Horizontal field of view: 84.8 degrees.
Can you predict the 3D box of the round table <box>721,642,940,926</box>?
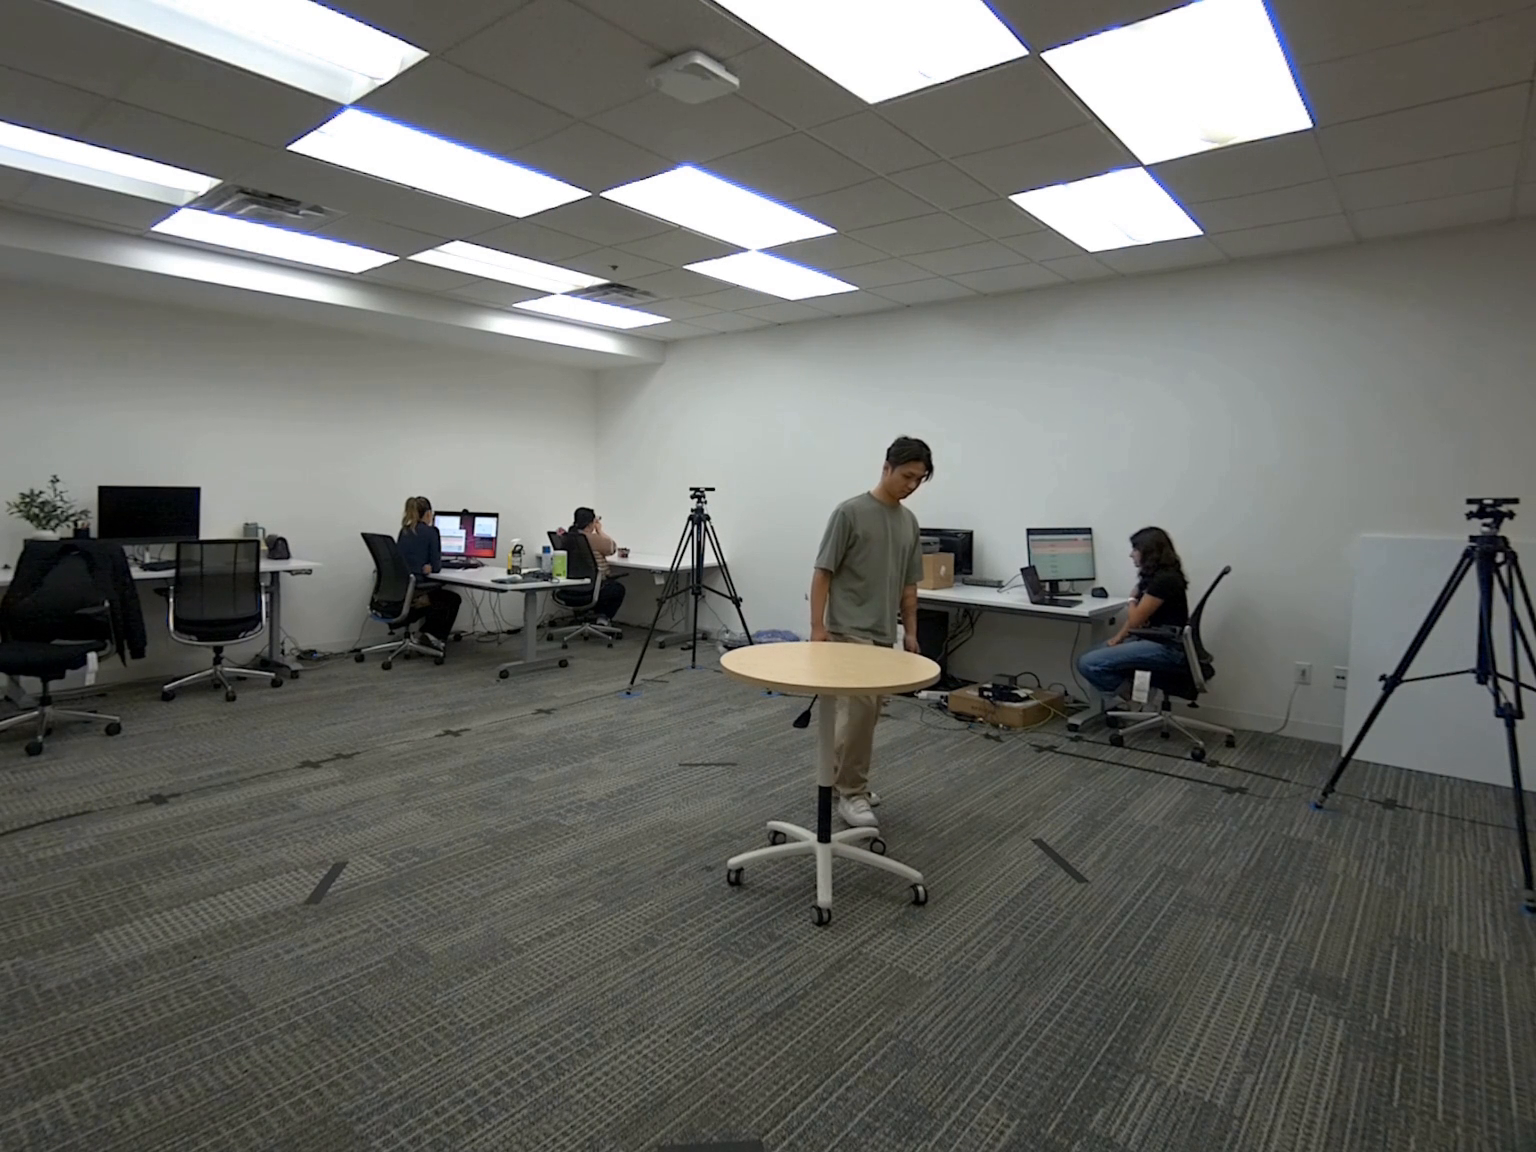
[{"bbox_3d":[0.192,0.689,3.014,0.784,0.784,0.789,1,4,-2],"label":"round table"}]
